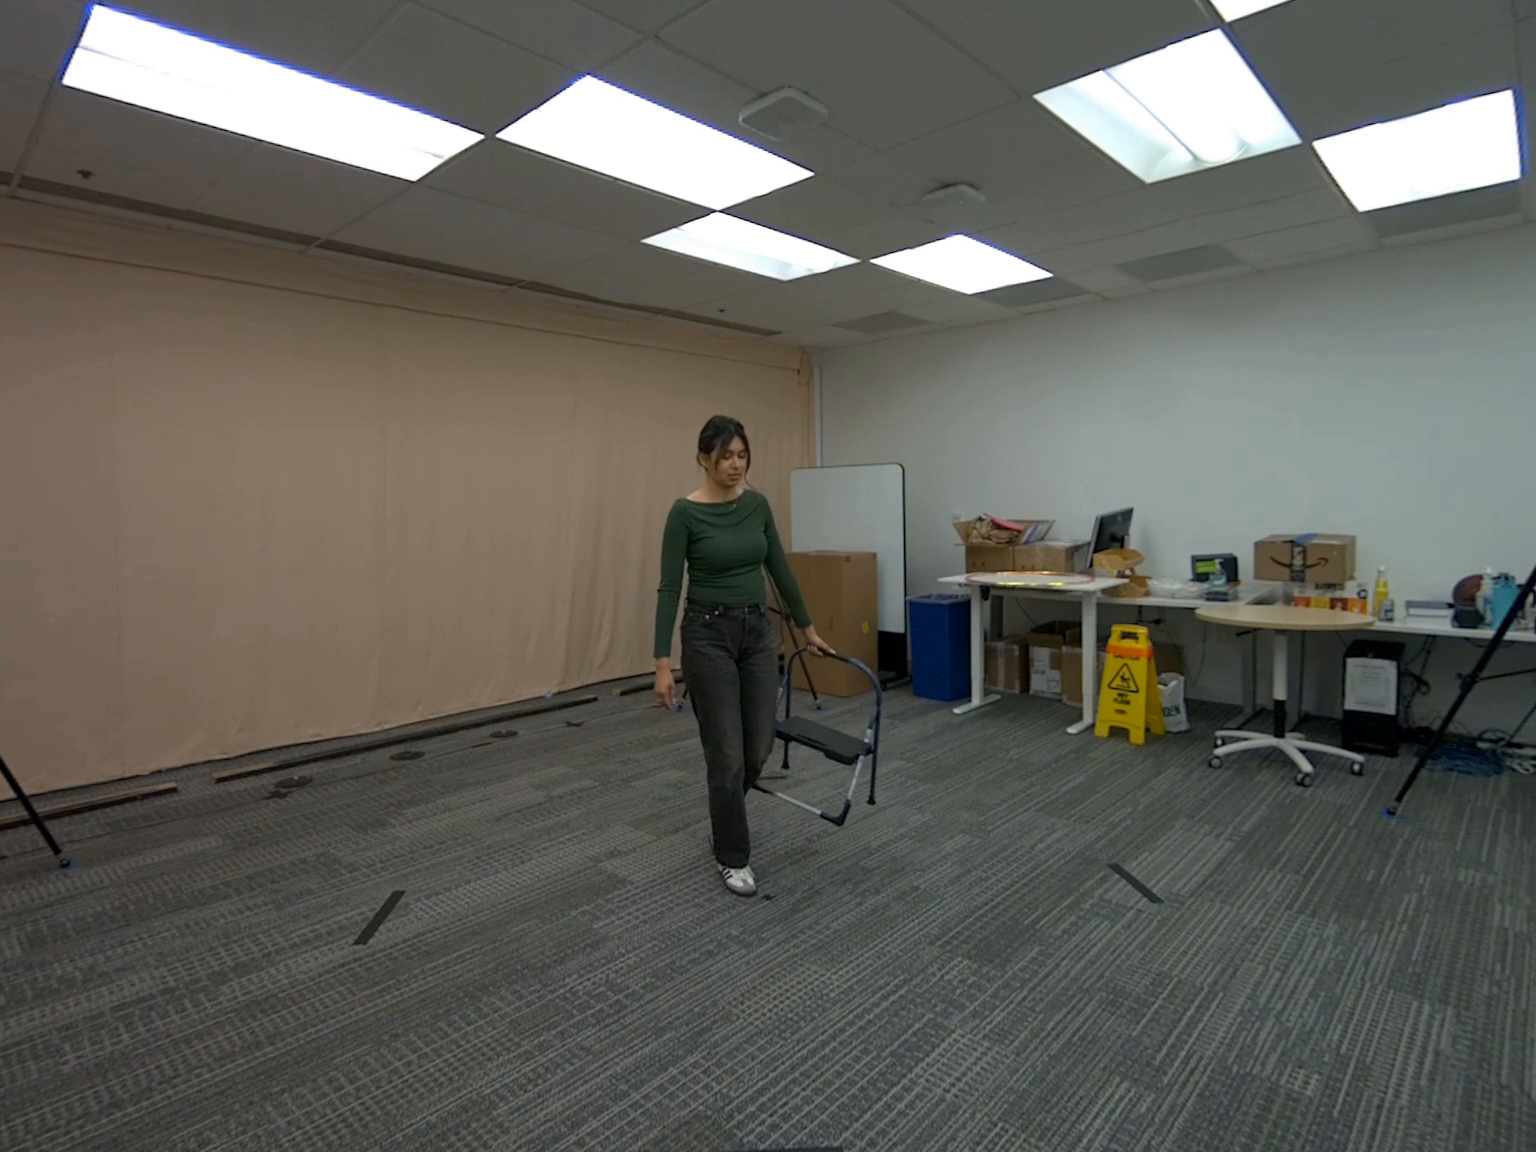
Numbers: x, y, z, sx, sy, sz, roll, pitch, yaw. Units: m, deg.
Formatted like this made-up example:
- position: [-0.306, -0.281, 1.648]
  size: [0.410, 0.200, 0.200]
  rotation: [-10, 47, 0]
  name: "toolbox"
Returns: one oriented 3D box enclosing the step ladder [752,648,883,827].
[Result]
- position: [0.239, 0.587, 3.331]
  size: [0.443, 0.604, 0.340]
  rotation: [14, 9, 27]
  name: "step ladder"
